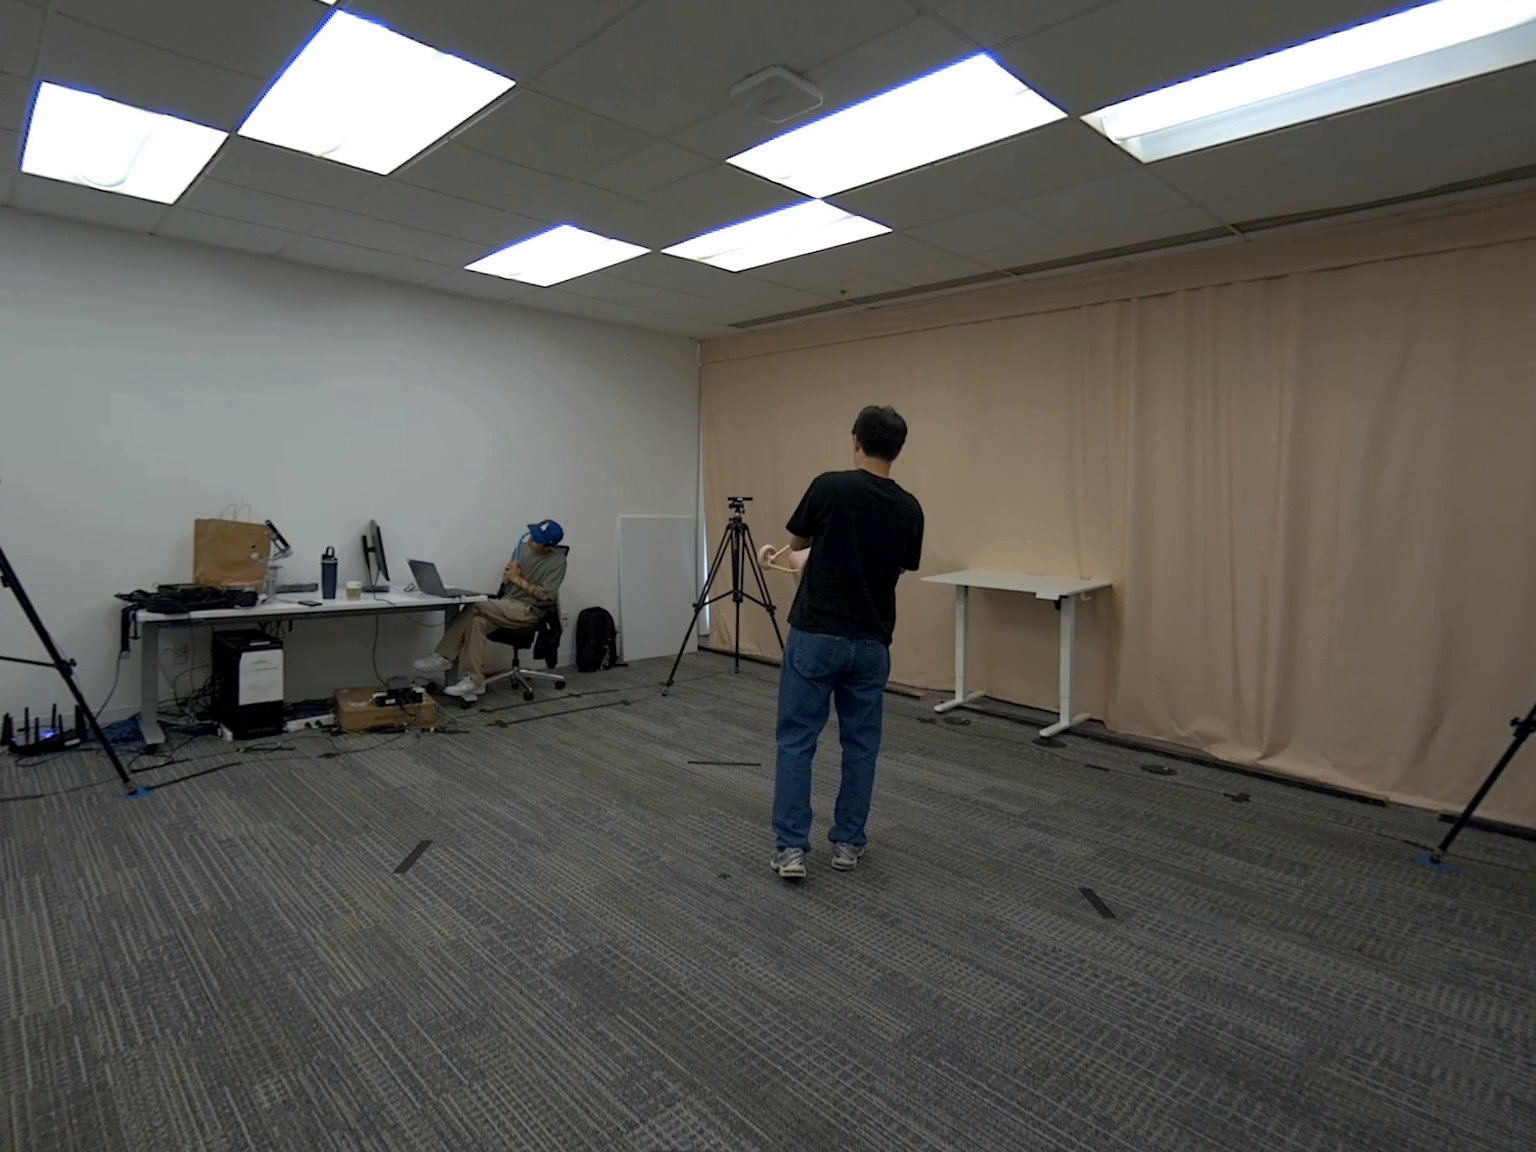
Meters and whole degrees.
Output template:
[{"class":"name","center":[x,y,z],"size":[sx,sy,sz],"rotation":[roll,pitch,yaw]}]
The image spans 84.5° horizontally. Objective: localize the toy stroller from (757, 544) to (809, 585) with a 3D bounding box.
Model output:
[{"class":"toy stroller","center":[0.202,-0.014,3.664],"size":[0.289,0.520,0.341],"rotation":[11,50,43]}]
